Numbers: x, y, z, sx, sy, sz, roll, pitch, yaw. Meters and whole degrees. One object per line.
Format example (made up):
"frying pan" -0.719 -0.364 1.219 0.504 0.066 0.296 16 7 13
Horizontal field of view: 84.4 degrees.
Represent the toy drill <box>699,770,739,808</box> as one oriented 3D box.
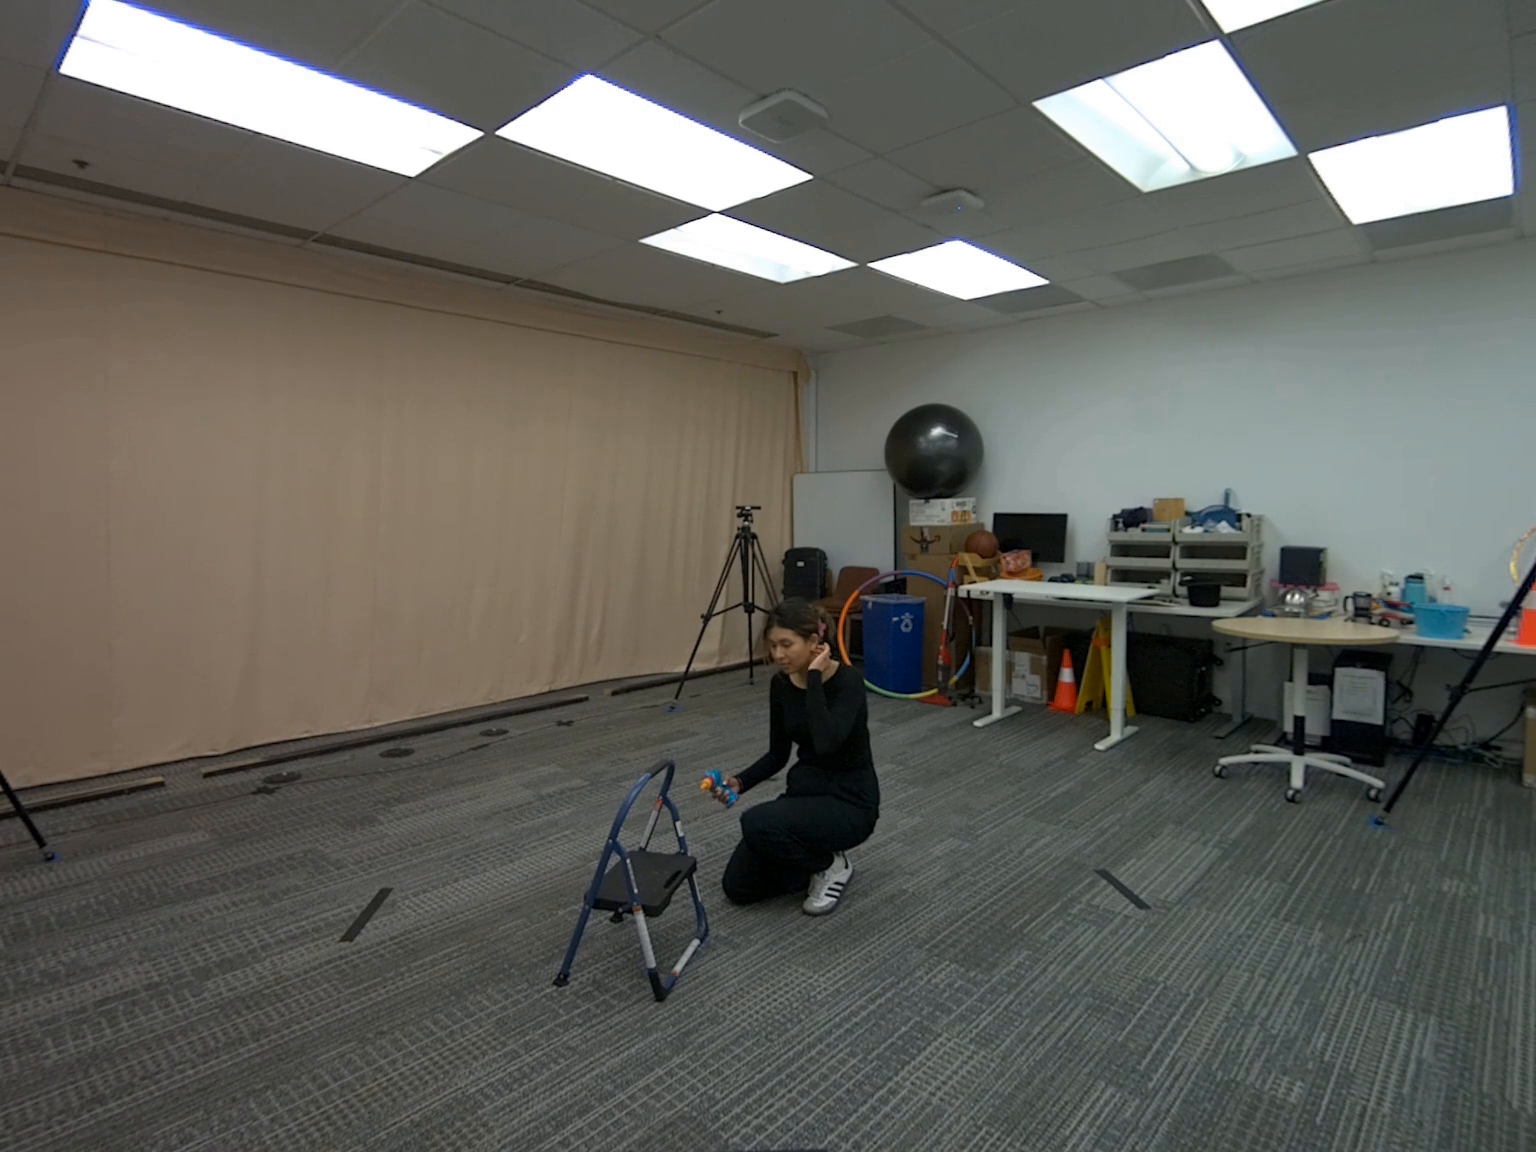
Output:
"toy drill" -0.168 0.737 2.893 0.061 0.148 0.167 -43 -8 10
